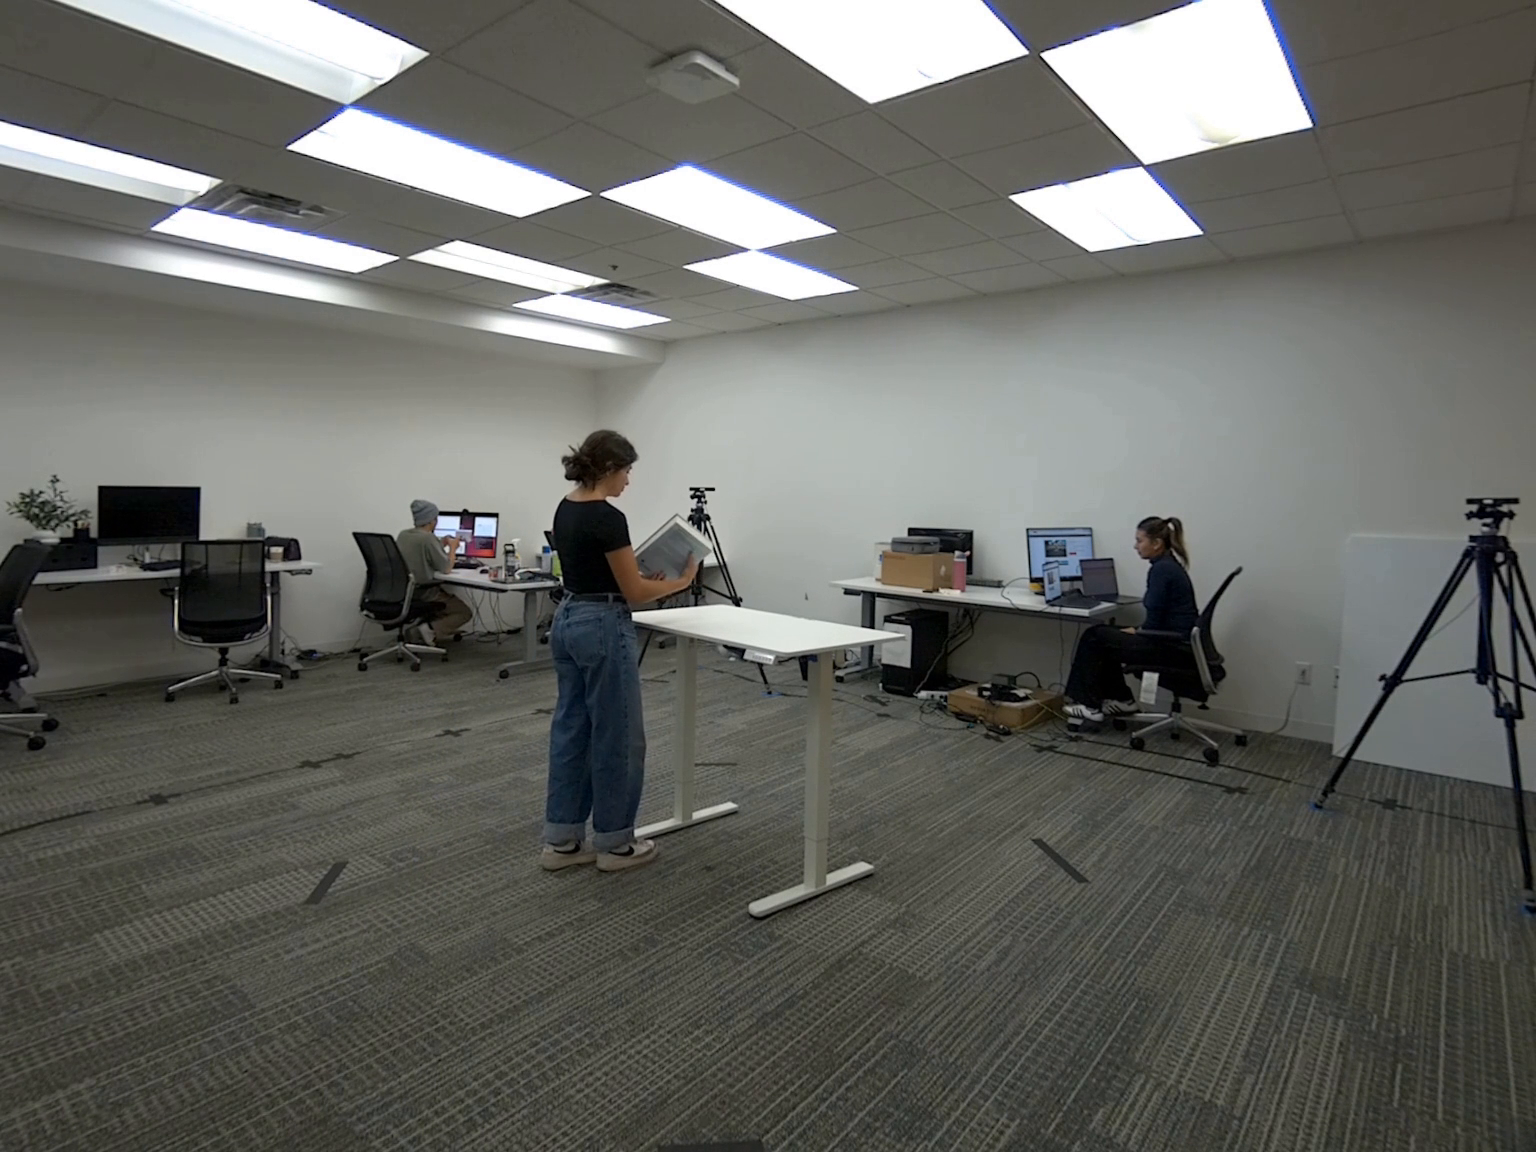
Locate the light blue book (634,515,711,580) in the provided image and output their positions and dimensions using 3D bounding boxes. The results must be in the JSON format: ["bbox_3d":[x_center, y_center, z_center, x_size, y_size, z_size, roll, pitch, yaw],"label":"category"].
[{"bbox_3d":[-0.378,-0.083,3.178,0.262,0.187,0.060,-40,20,25],"label":"light blue book"}]
